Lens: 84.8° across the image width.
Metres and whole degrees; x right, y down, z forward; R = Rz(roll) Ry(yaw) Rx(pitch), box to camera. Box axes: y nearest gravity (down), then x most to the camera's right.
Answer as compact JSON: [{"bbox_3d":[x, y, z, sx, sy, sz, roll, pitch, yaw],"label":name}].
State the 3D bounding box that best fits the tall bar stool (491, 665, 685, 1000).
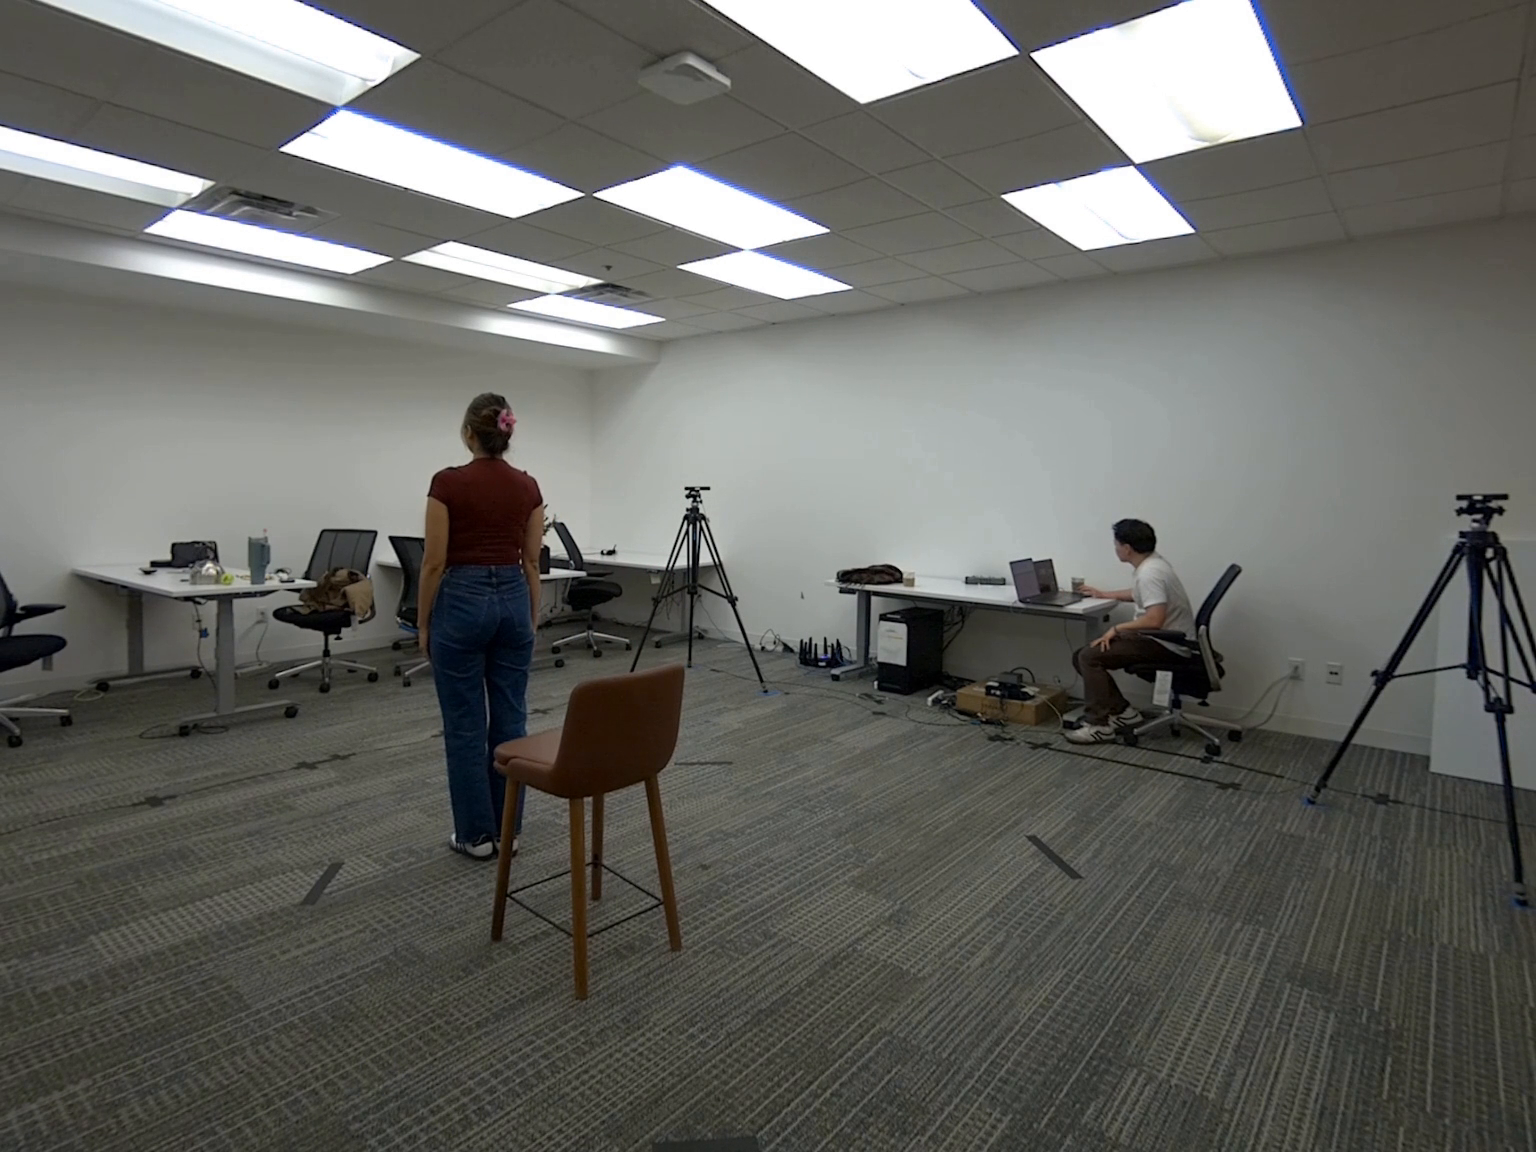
[{"bbox_3d":[-0.549,0.682,2.555,0.484,0.886,0.443,6,7,43],"label":"tall bar stool"}]
